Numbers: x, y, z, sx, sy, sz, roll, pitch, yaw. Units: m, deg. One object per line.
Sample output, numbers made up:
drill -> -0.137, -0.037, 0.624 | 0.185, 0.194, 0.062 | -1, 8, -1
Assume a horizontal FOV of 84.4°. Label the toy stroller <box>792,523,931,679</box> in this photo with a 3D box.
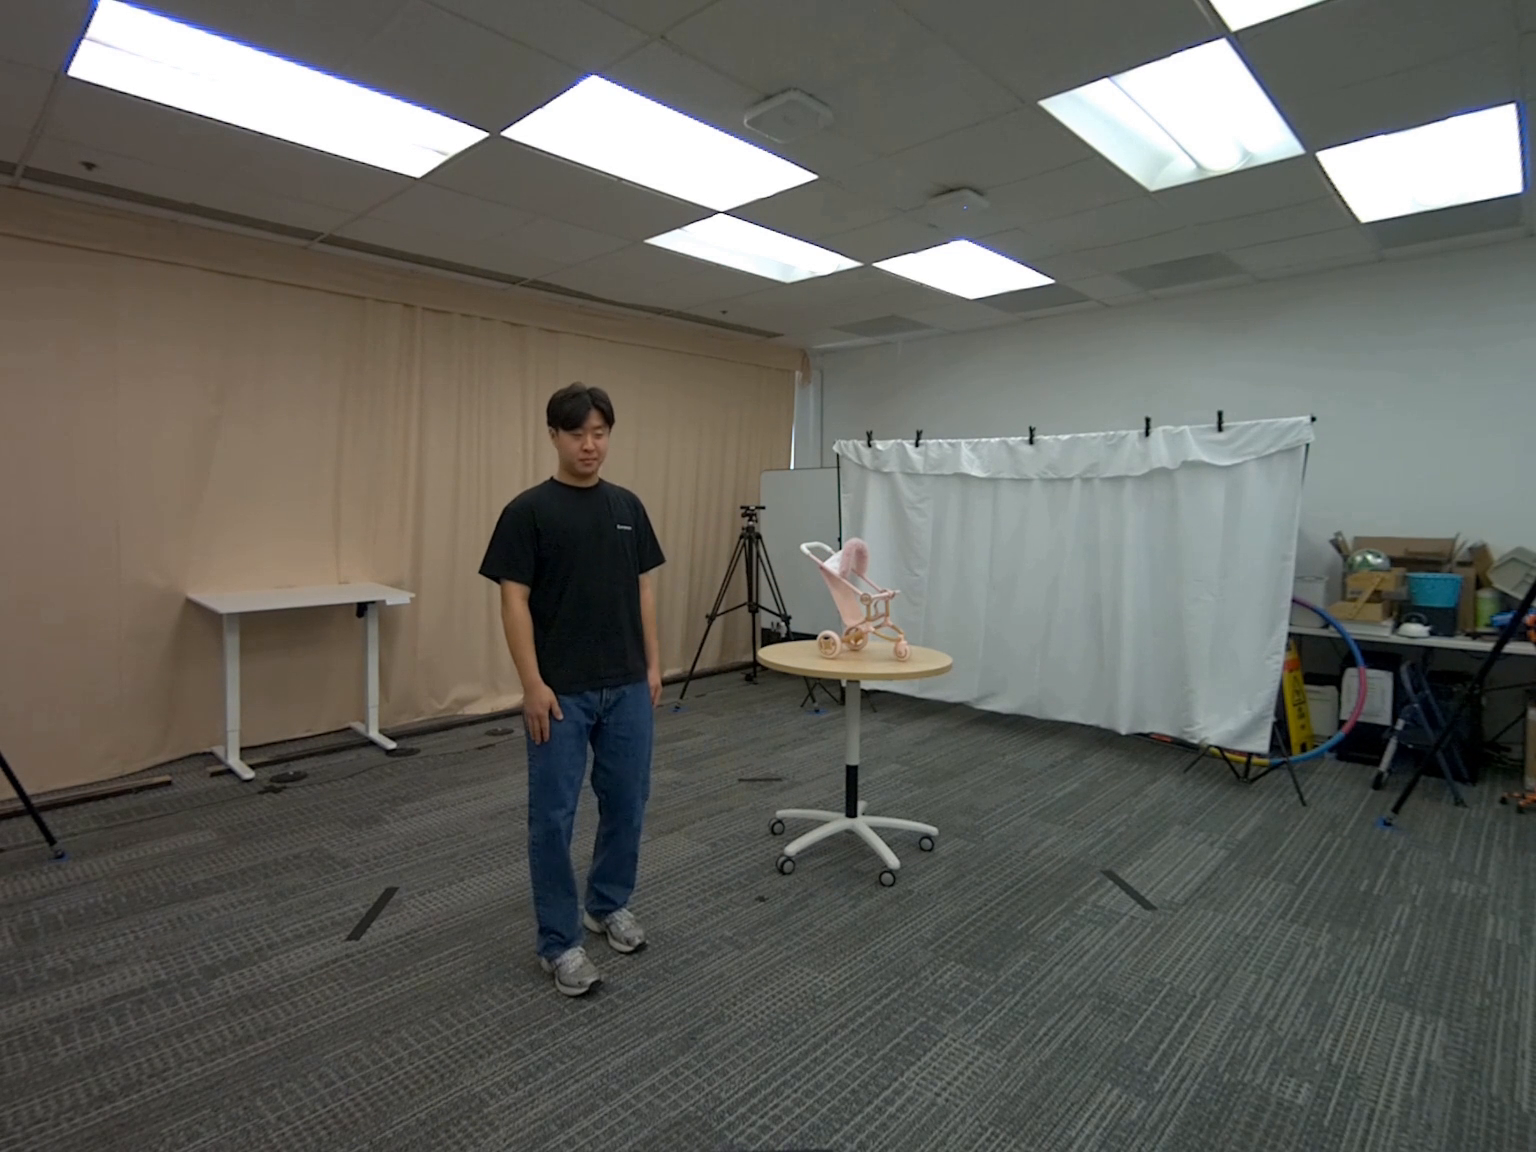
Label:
toy stroller -> 0.363, 0.093, 3.317 | 0.350, 0.537, 0.273 | -15, -6, 35
